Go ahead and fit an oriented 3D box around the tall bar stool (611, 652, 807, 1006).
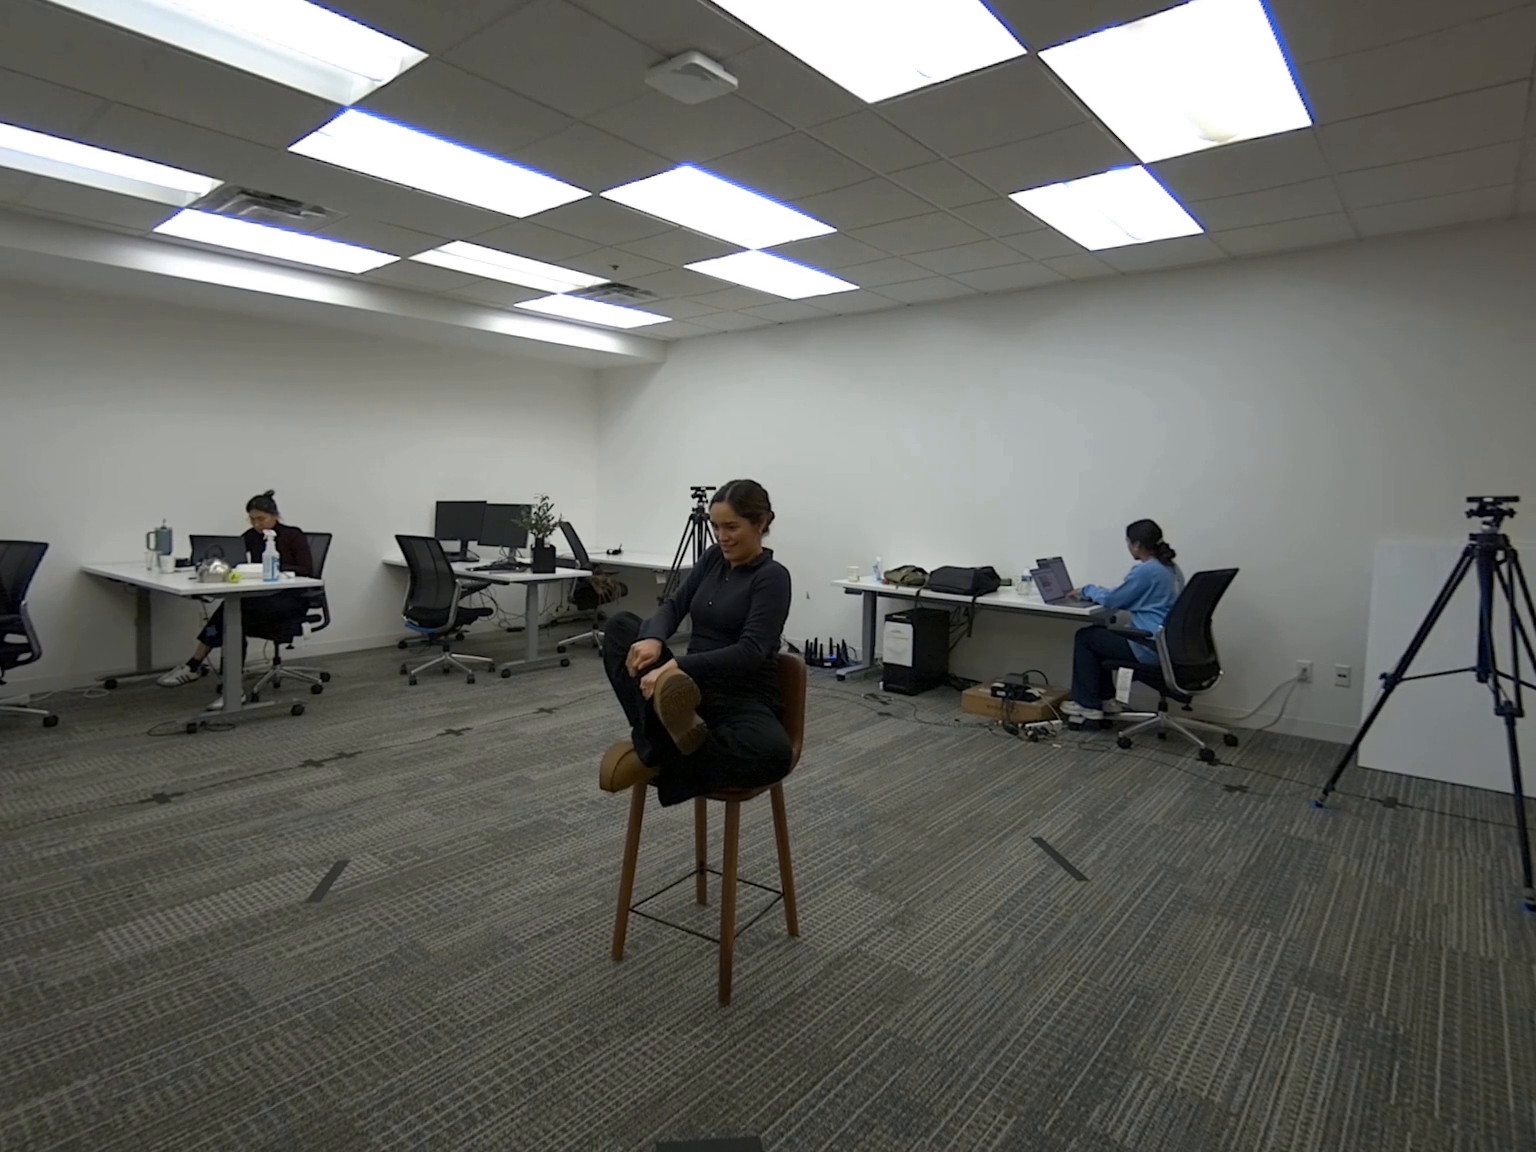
[{"bbox_3d":[-0.168,0.688,2.558,0.470,0.888,0.454,4,2,32],"label":"tall bar stool"}]
